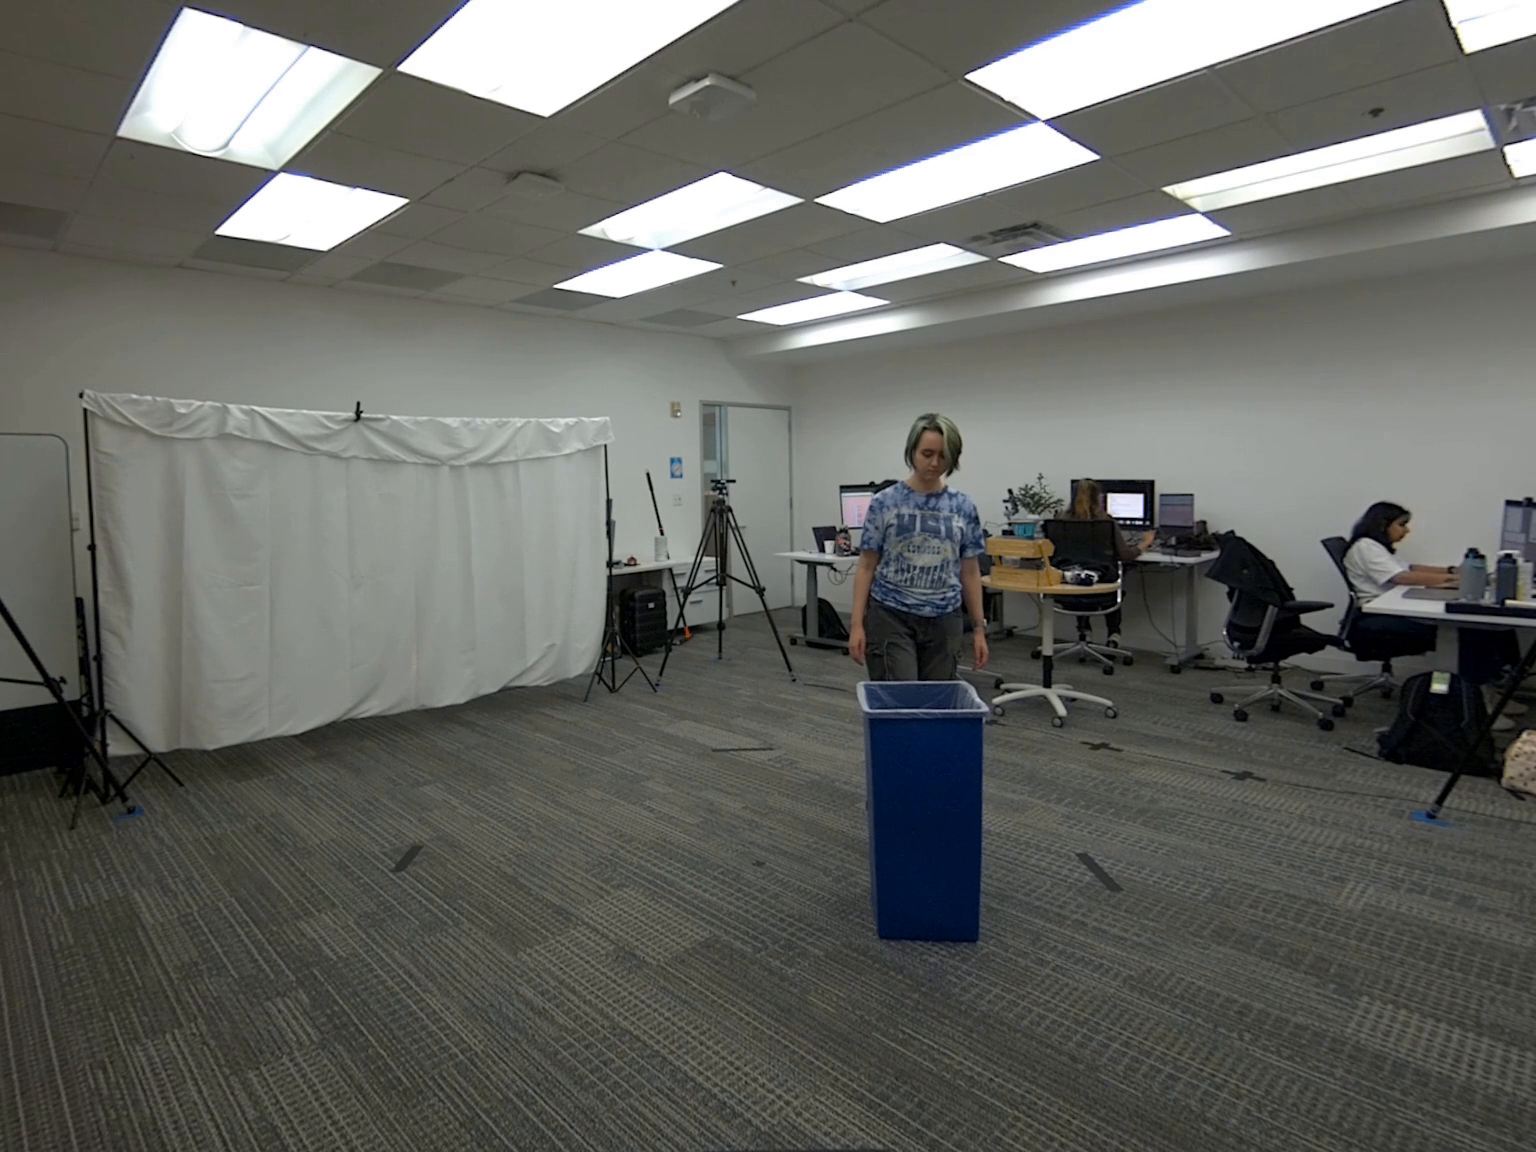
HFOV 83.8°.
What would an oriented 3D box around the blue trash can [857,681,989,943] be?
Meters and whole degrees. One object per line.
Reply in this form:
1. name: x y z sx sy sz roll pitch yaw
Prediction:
1. blue trash can: 0.483 0.733 2.686 0.376 0.711 0.378 -1 4 4
